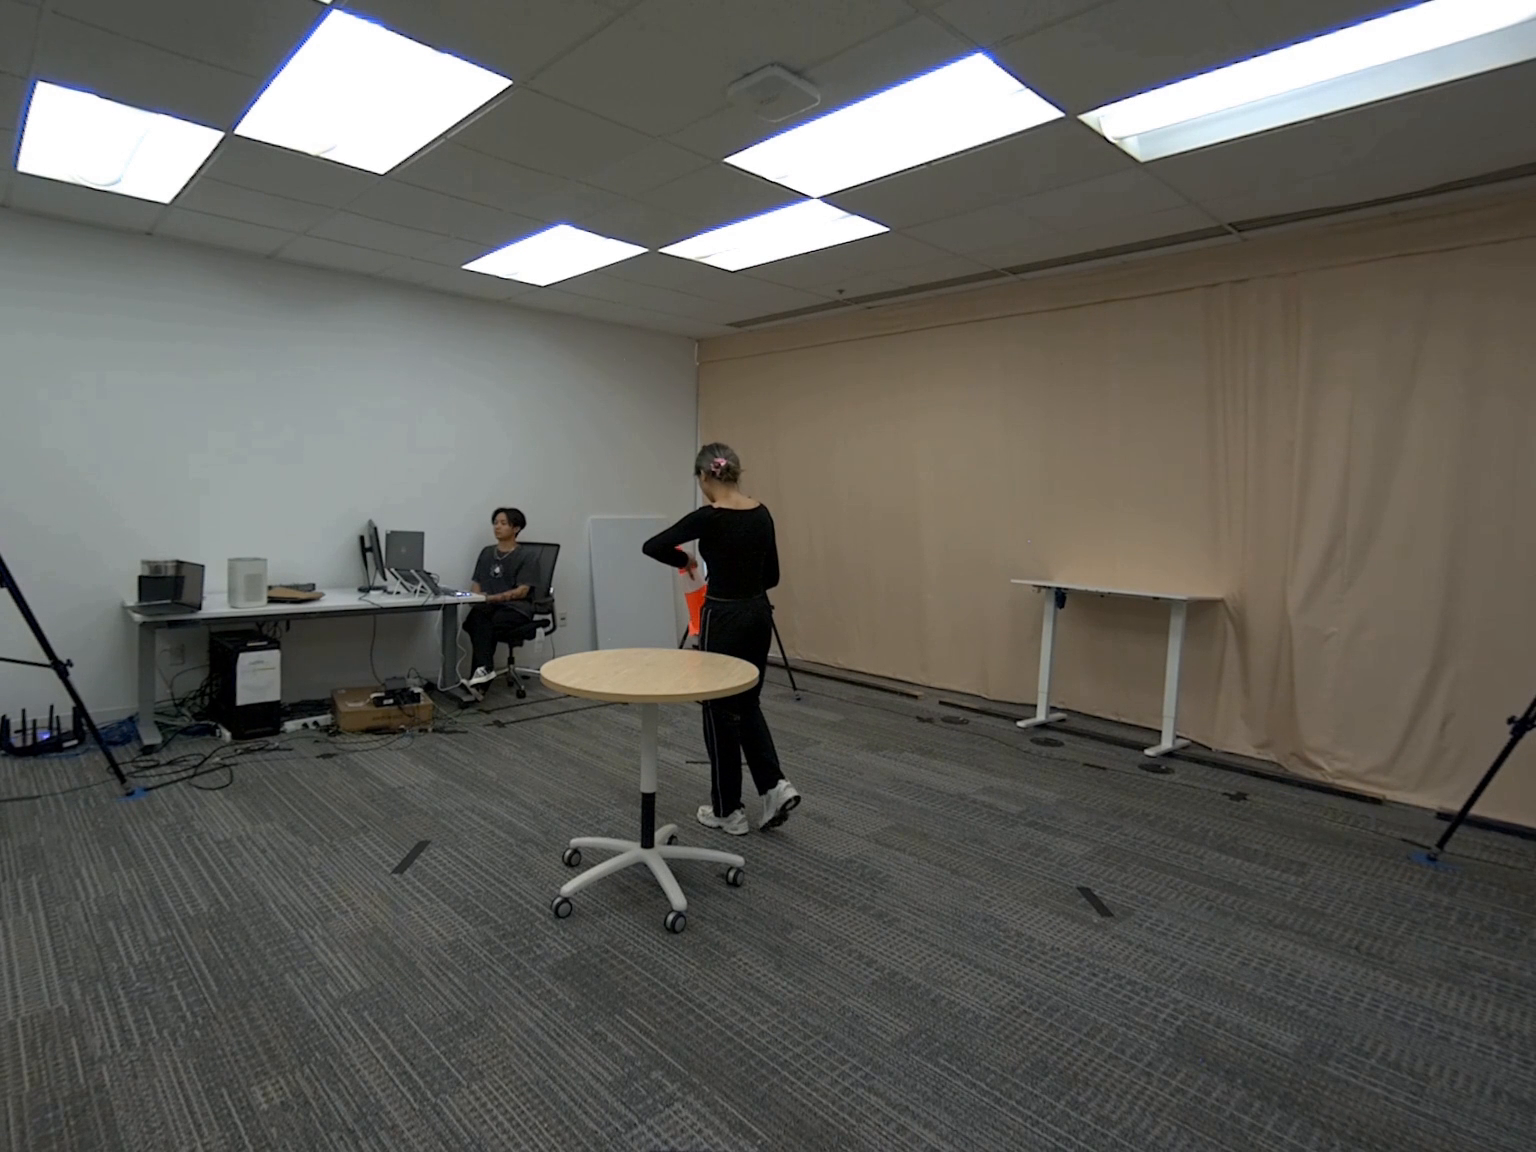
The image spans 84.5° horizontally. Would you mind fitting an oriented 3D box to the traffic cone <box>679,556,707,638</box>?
[{"bbox_3d":[-0.346,0.041,3.765,0.203,0.380,0.207,-24,11,-3],"label":"traffic cone"}]
